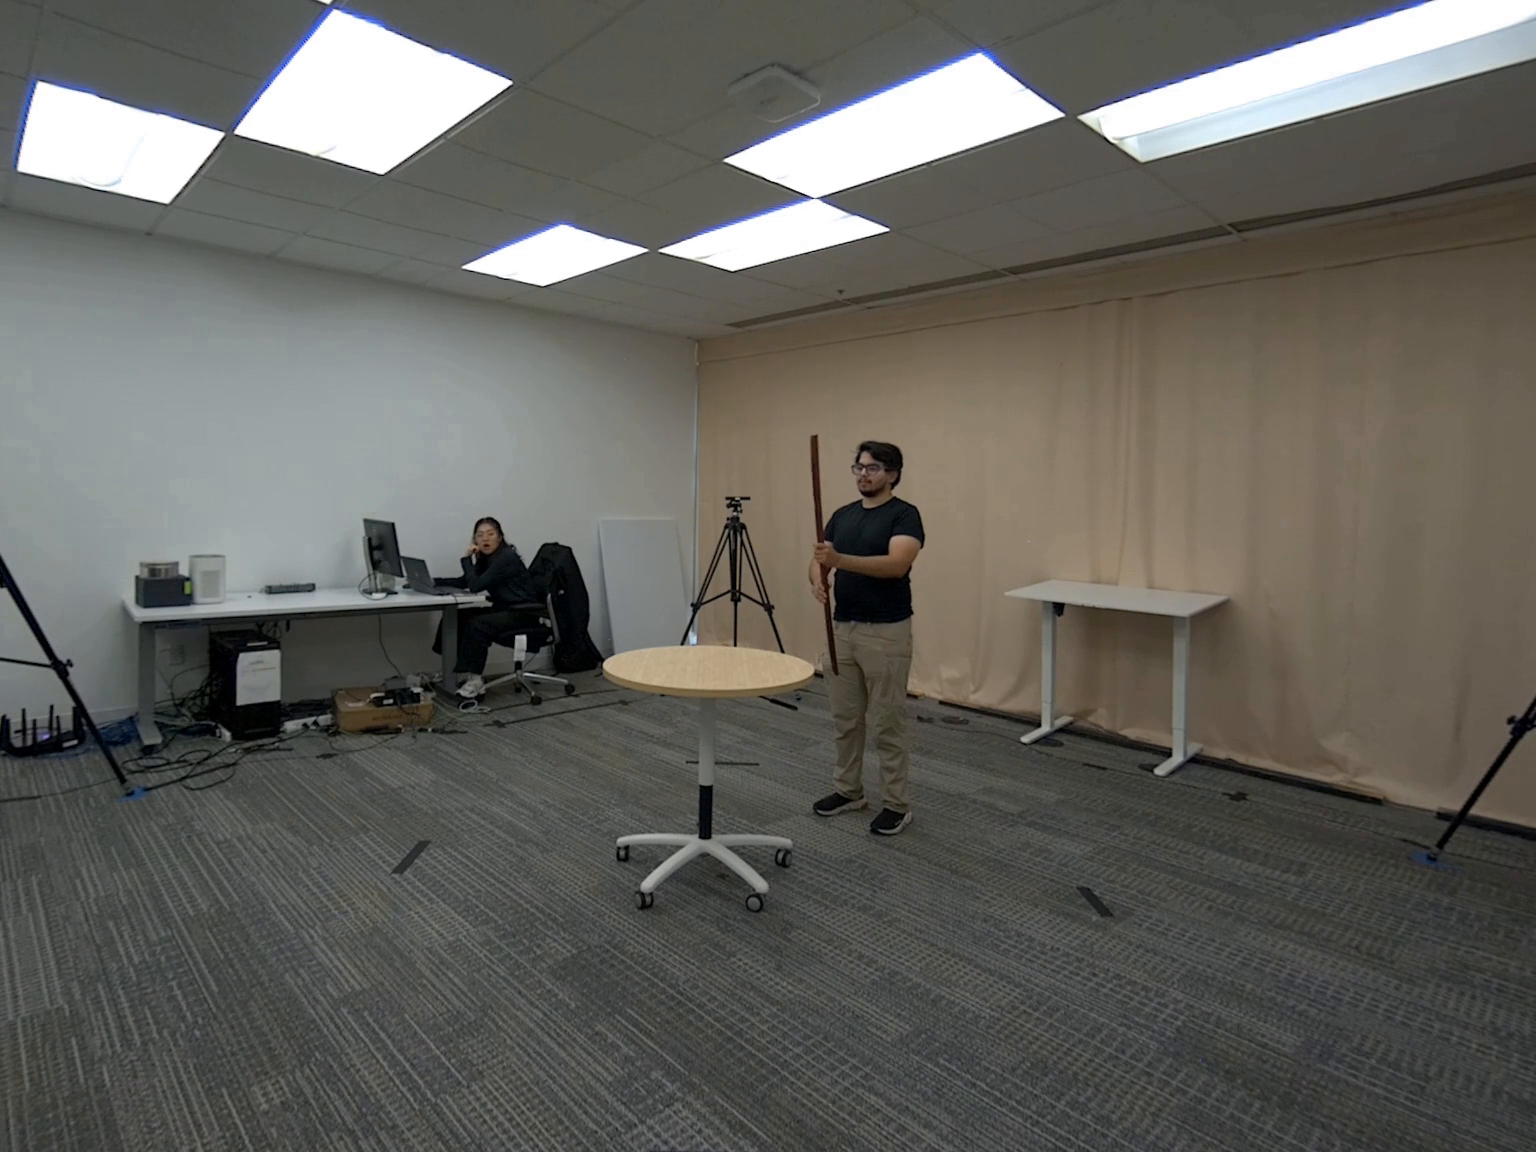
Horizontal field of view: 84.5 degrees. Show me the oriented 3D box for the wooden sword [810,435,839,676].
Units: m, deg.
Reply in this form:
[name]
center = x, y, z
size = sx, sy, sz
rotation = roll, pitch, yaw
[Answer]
[wooden sword]
center = 0.224, -0.065, 3.439
size = 0.050, 1.013, 0.025
rotation = -19, 19, -41
